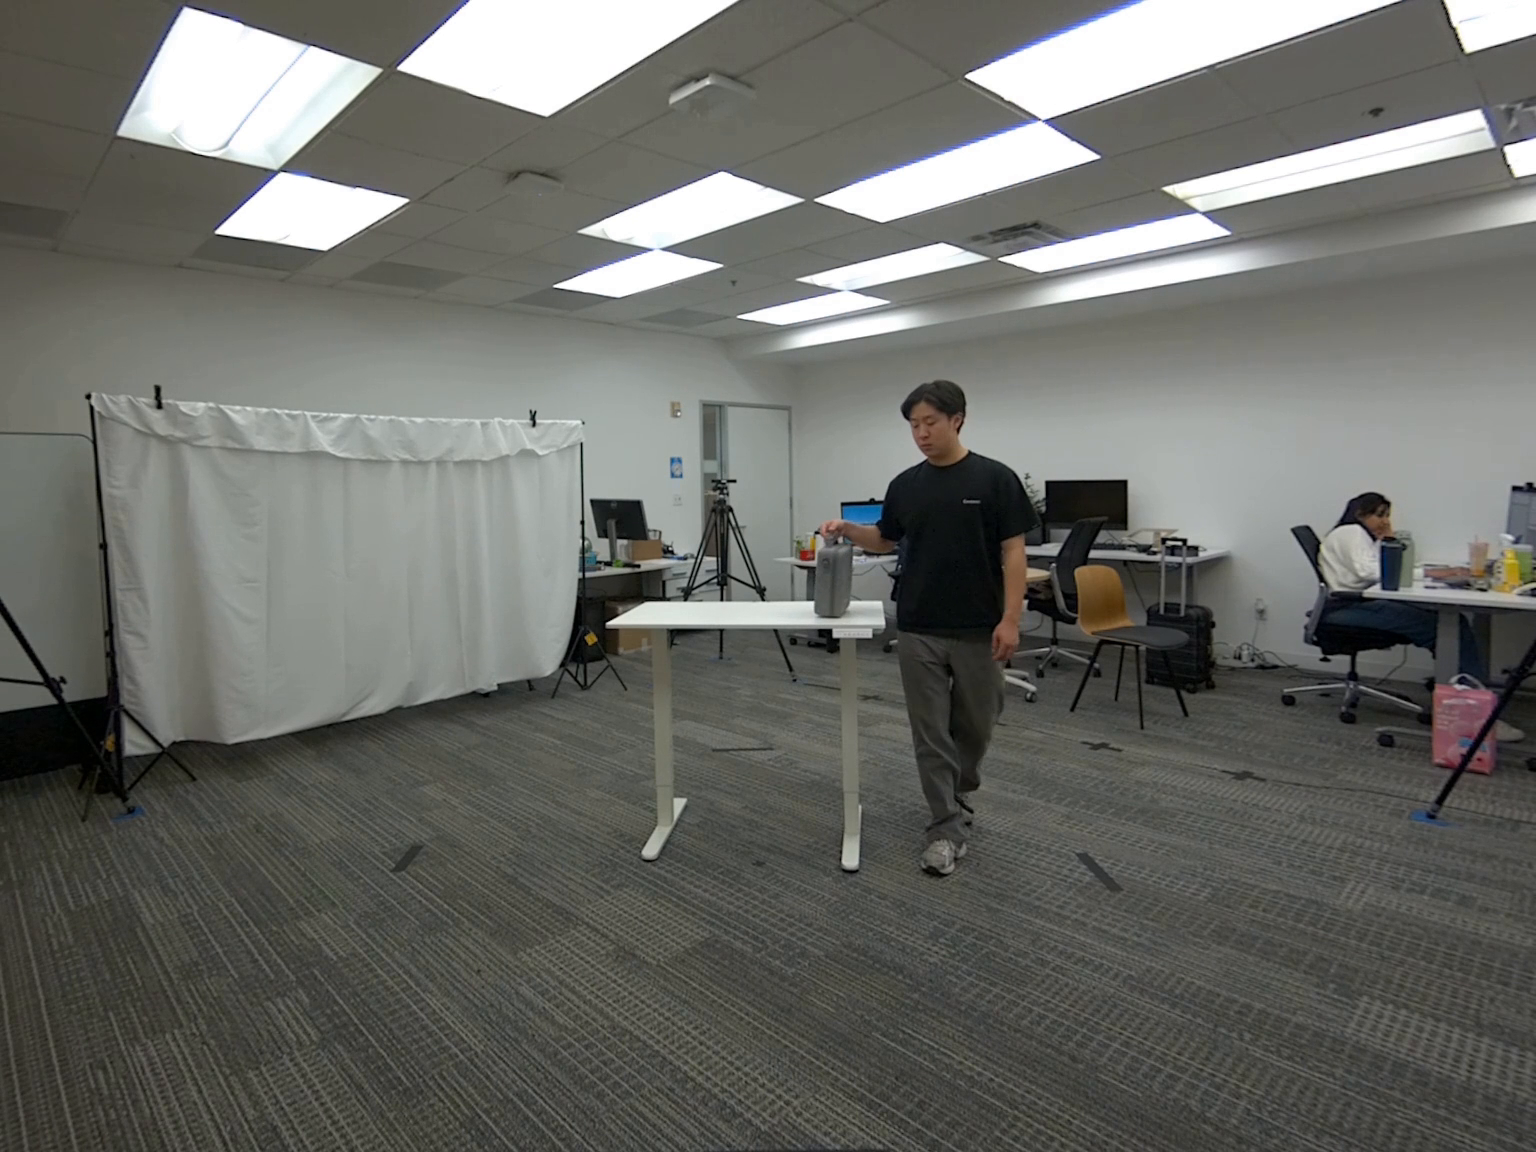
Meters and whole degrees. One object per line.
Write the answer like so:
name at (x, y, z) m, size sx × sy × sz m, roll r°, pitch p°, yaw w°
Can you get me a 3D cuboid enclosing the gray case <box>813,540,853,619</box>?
gray case at (0.252, 0.000, 3.204) m, size 0.105 × 0.285 × 0.260 m, roll 2°, pitch 7°, yaw 16°
